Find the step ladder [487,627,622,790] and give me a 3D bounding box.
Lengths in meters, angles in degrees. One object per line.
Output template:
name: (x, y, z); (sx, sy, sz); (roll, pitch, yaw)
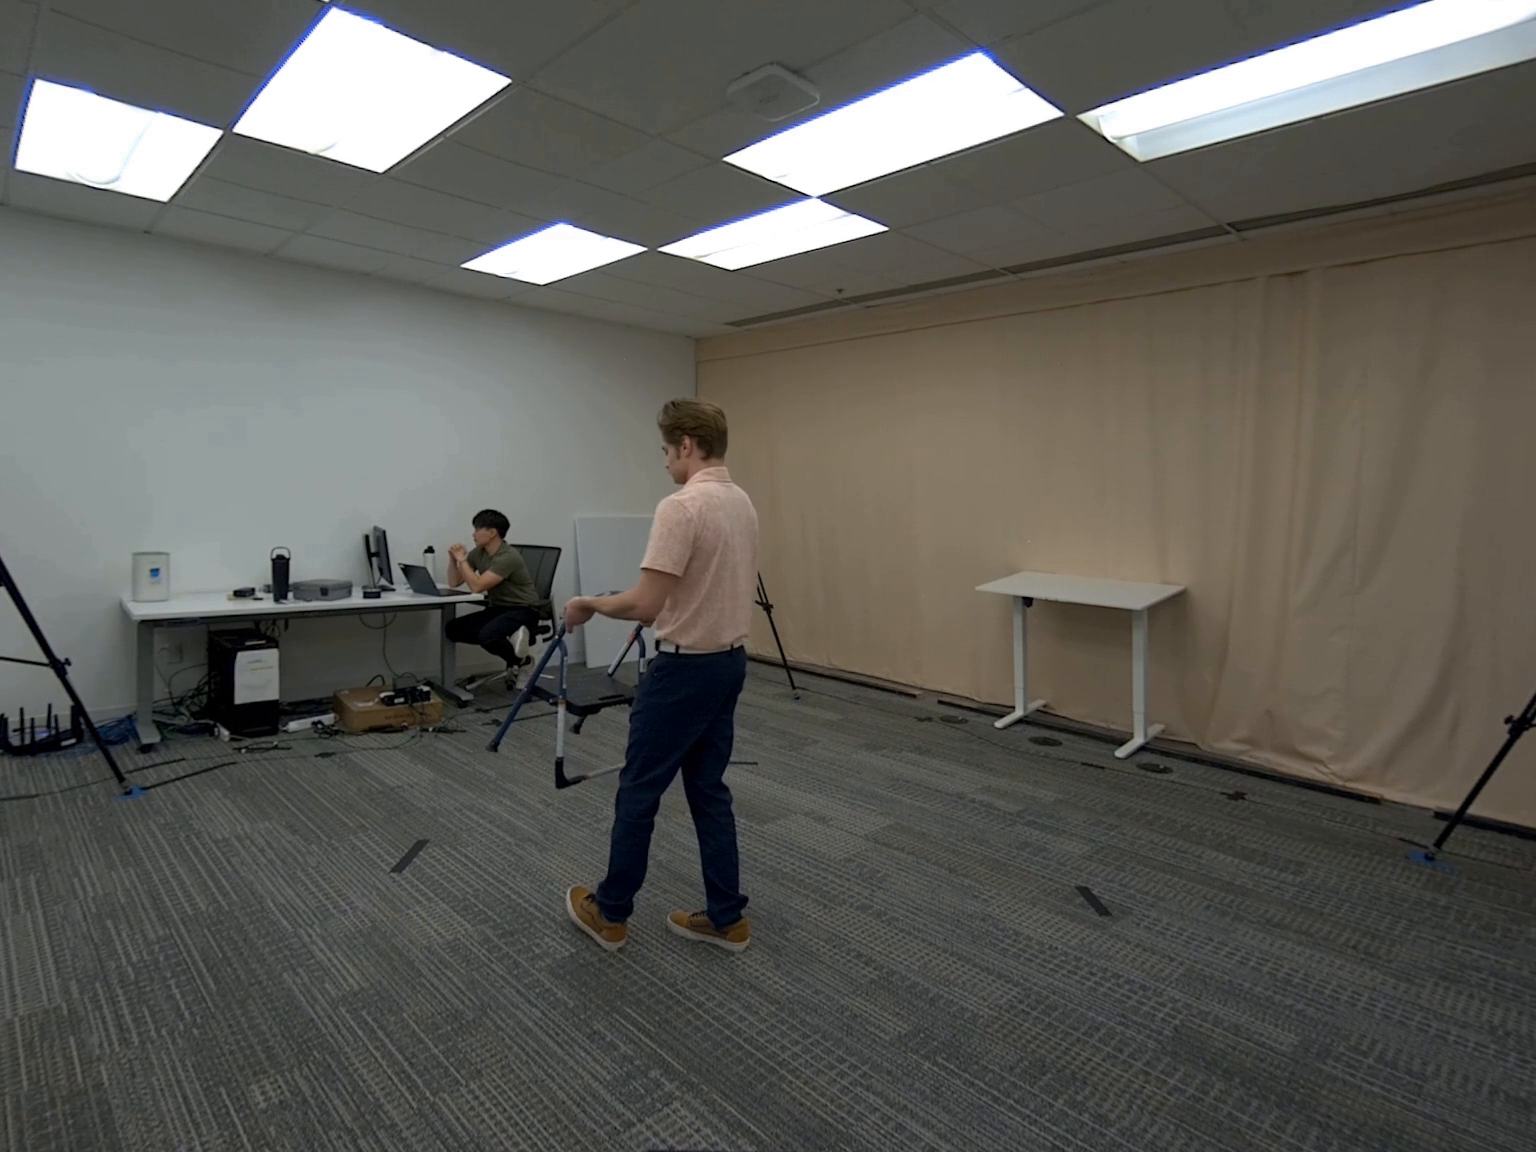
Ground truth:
step ladder: (-0.605, 0.328, 2.810); (0.358, 0.604, 0.421); (18, 7, 30)
